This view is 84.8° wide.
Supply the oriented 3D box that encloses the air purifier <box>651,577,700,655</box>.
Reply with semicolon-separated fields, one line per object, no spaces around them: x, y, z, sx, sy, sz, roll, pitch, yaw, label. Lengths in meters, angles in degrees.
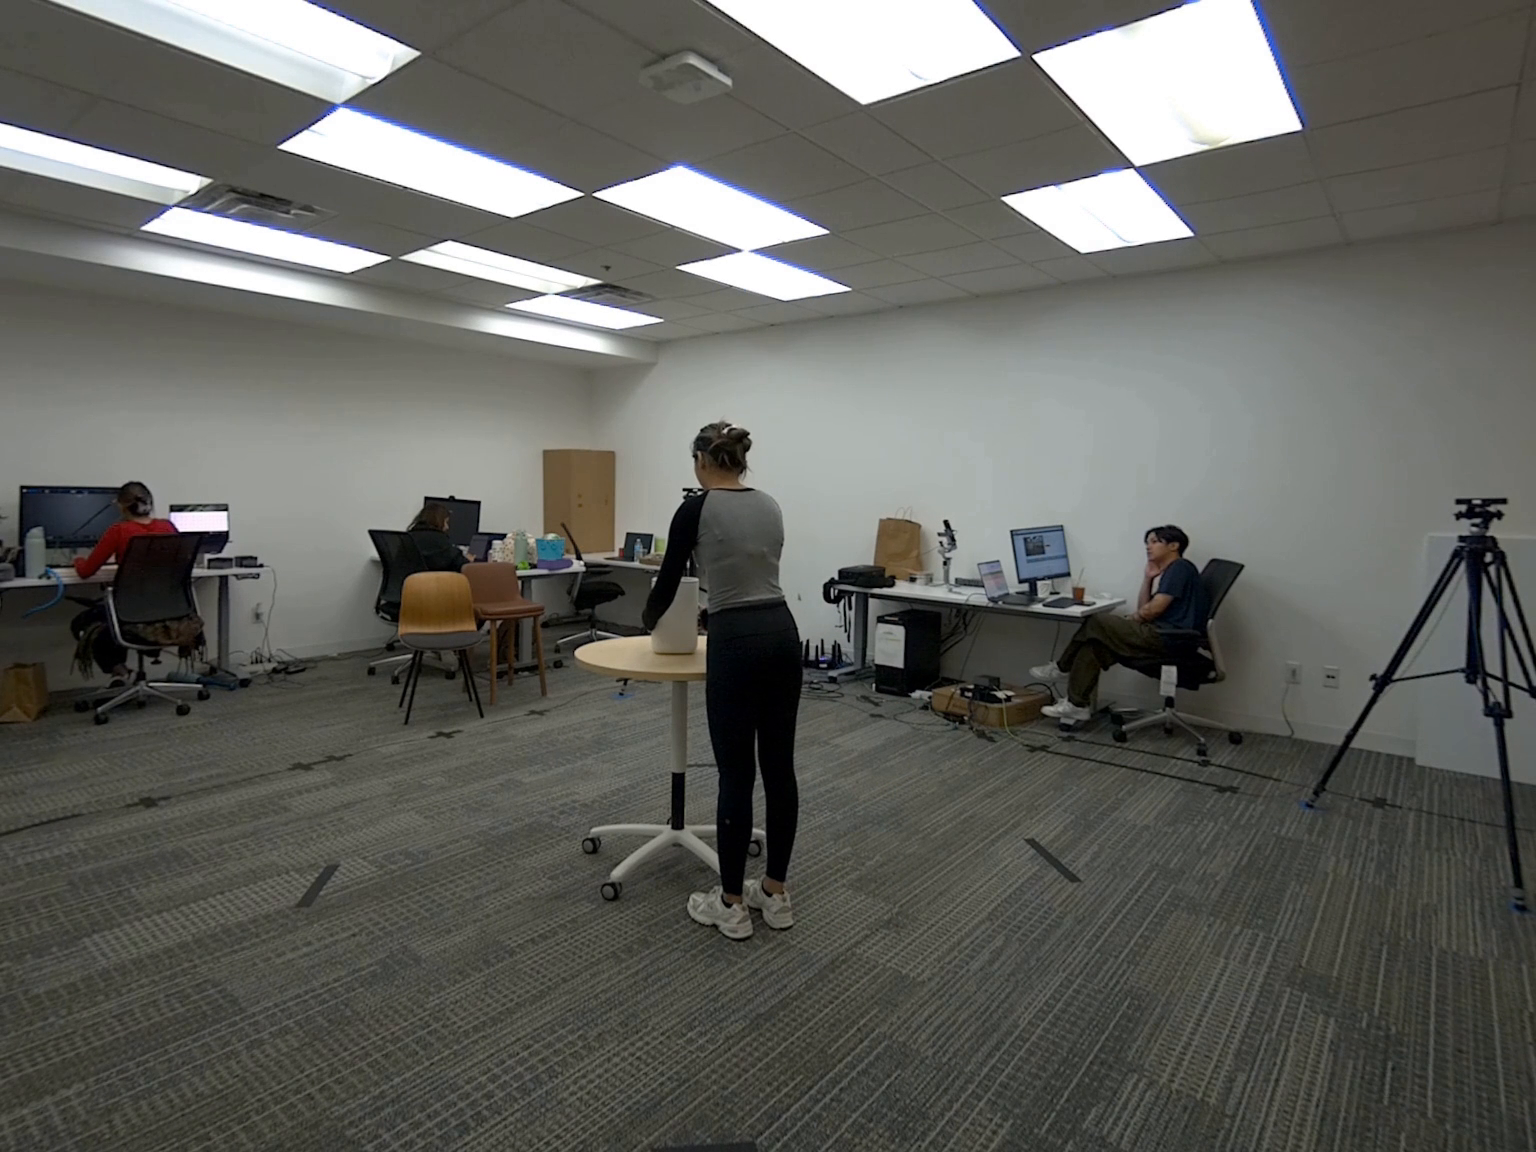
-0.352;0.141;3.111;0.170;0.264;0.173;-1;4;-5;air purifier
